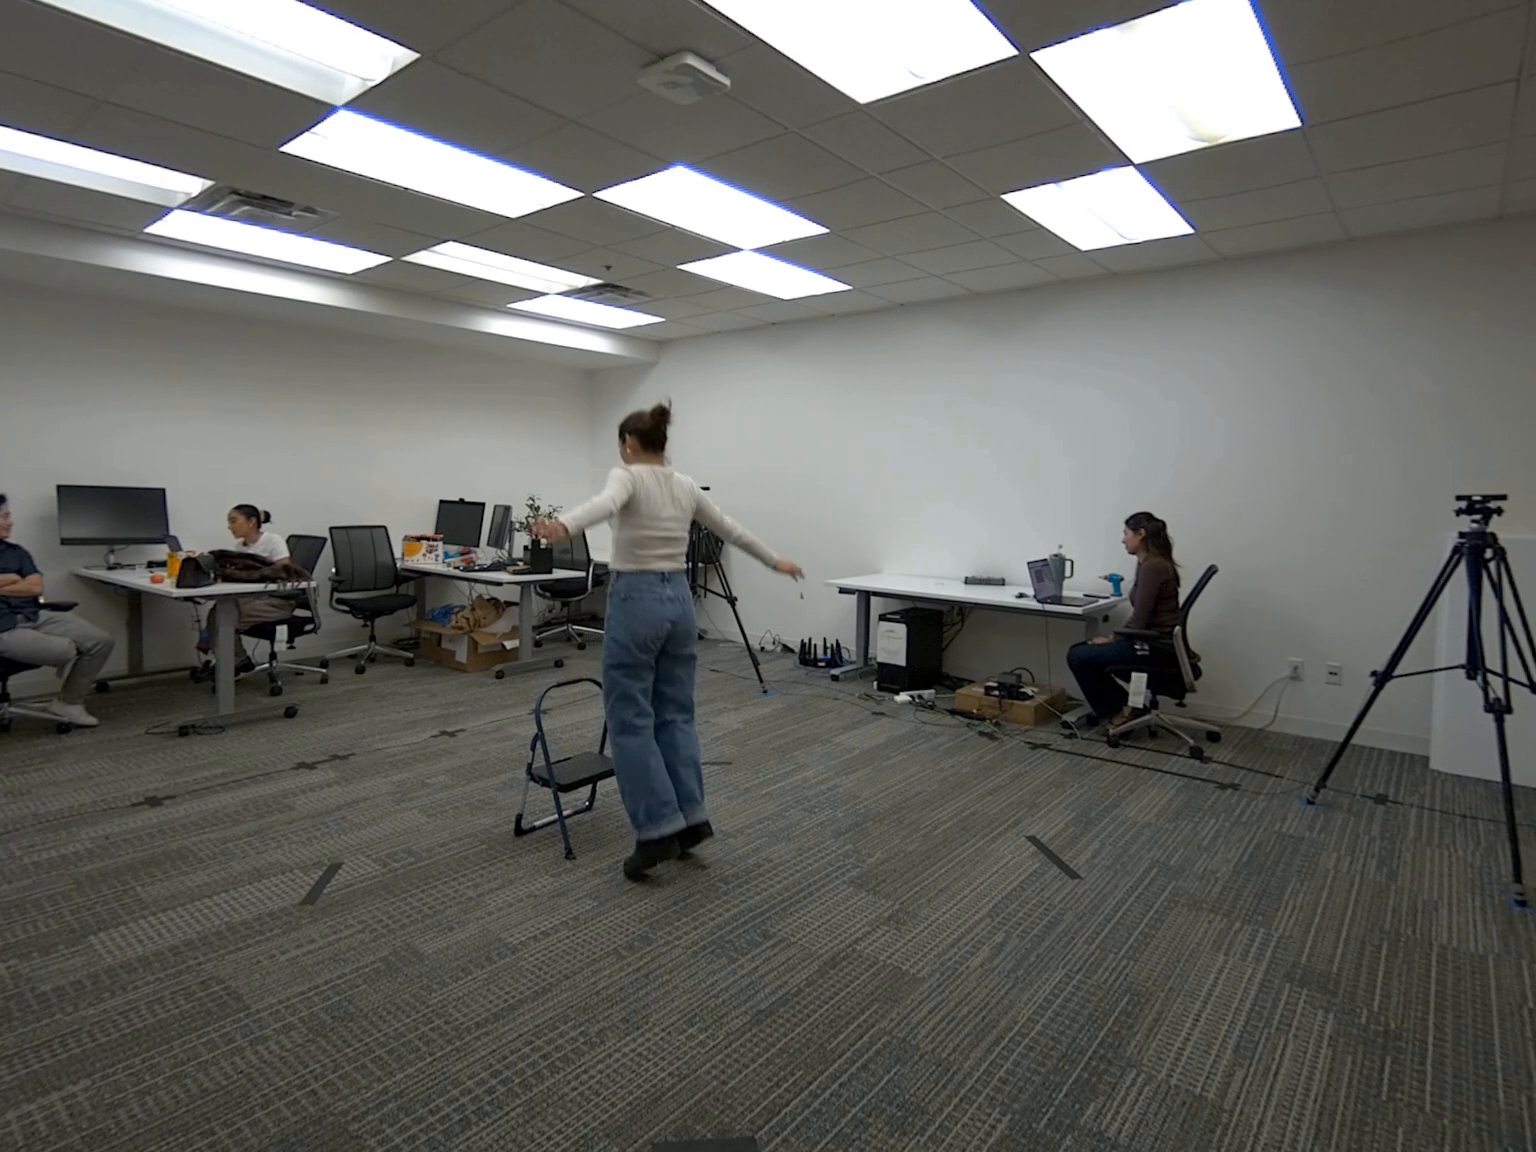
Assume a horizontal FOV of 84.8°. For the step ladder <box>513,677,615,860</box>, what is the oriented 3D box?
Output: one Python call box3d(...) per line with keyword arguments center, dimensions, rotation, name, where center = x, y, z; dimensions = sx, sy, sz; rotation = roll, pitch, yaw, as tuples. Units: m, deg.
box3d(center=(-0.762, 0.726, 3.419), dimensions=(0.360, 0.604, 0.418), rotation=(3, 4, 36), name="step ladder")
